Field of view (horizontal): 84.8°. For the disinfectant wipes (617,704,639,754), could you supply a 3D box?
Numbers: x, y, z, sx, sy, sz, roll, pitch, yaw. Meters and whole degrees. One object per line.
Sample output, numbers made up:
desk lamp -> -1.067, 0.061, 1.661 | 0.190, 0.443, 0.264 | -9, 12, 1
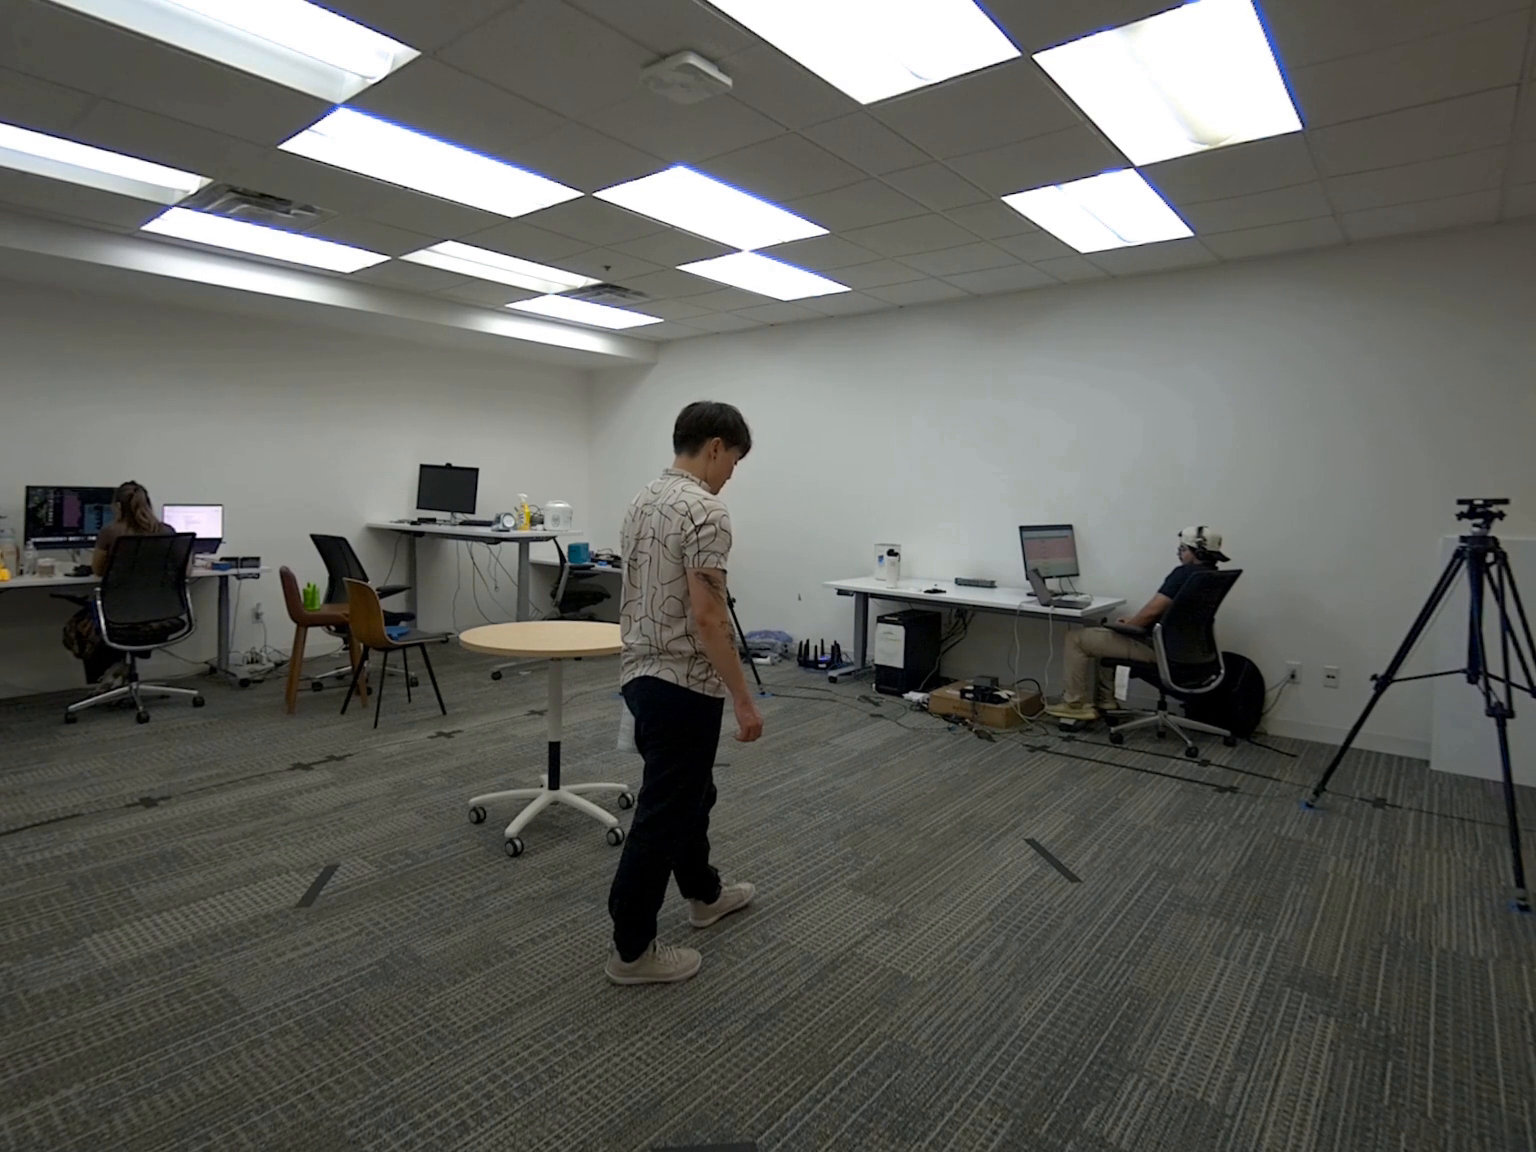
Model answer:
disinfectant wipes -> -0.424, 0.458, 2.761 | 0.118, 0.219, 0.117 | 8, -8, -1
